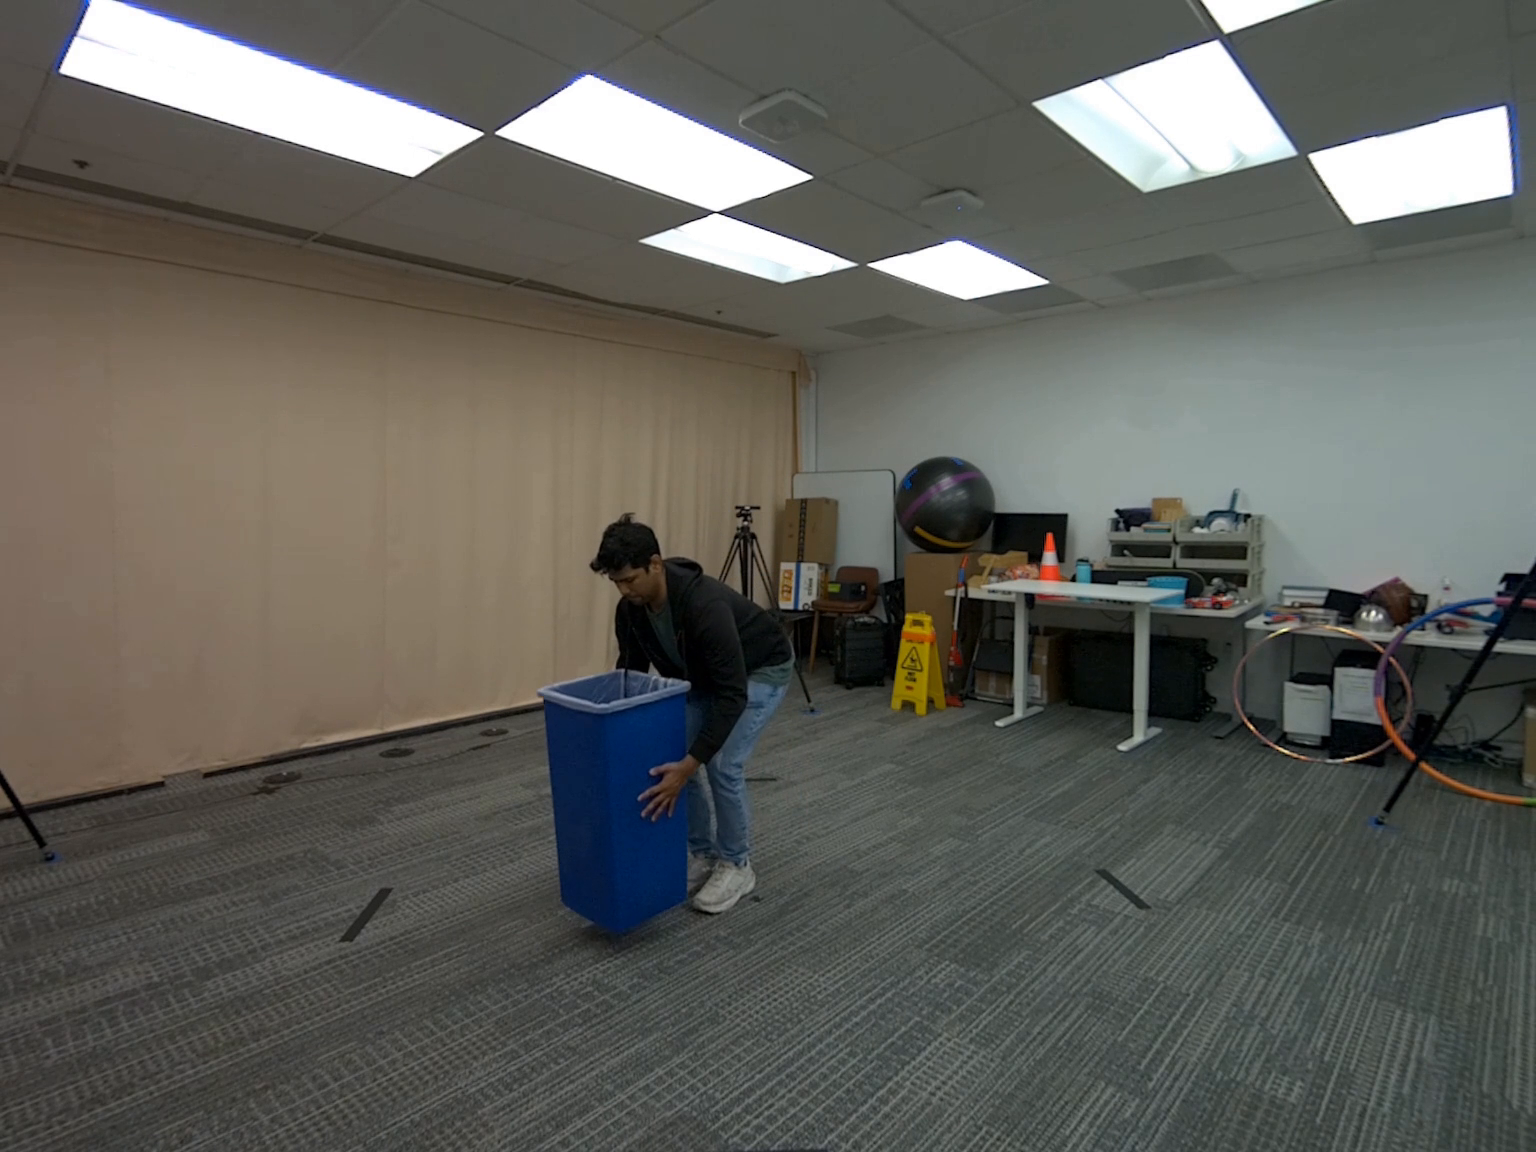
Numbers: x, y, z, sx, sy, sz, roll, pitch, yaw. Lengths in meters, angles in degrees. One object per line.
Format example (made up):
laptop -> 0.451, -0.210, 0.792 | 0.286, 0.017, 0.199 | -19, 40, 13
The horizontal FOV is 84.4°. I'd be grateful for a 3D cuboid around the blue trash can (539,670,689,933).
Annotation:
blue trash can -> -0.487, 0.707, 2.704 | 0.390, 0.711, 0.363 | 2, 6, 43
